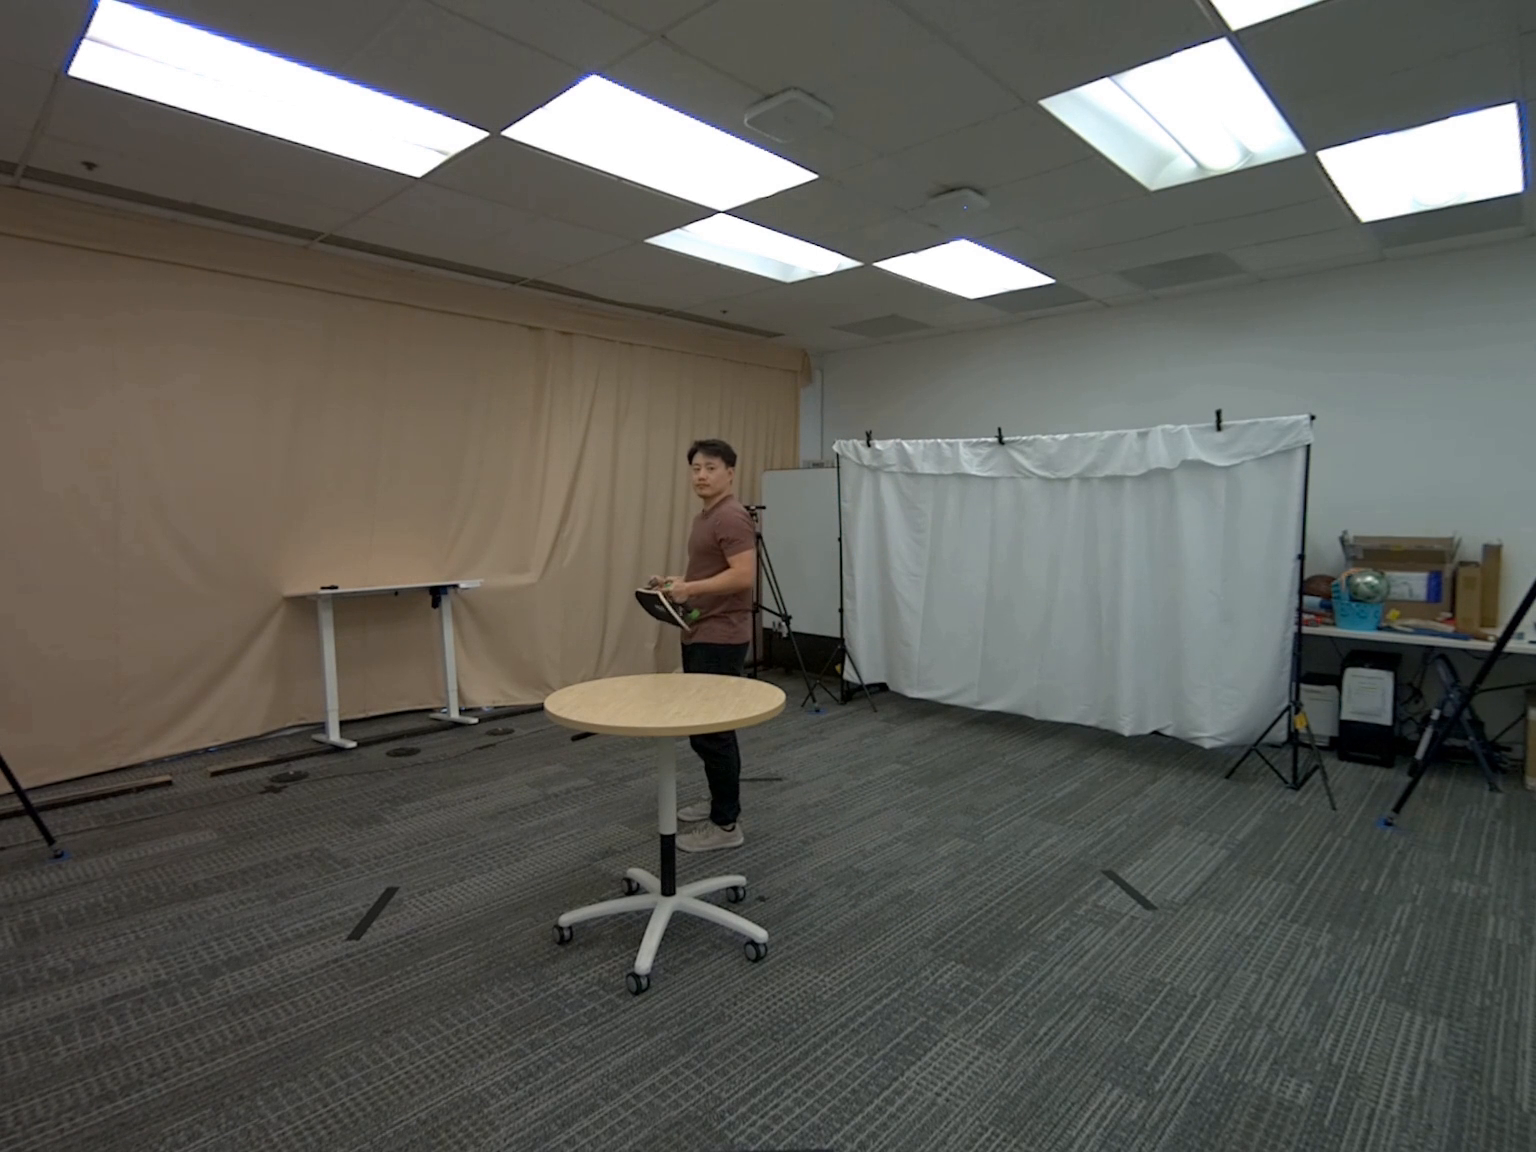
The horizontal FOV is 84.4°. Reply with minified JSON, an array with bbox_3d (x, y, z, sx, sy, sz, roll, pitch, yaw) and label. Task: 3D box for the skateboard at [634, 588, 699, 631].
[{"bbox_3d":[-0.426,0.128,3.542,0.110,0.192,0.796,-39,10,-11],"label":"skateboard"}]
